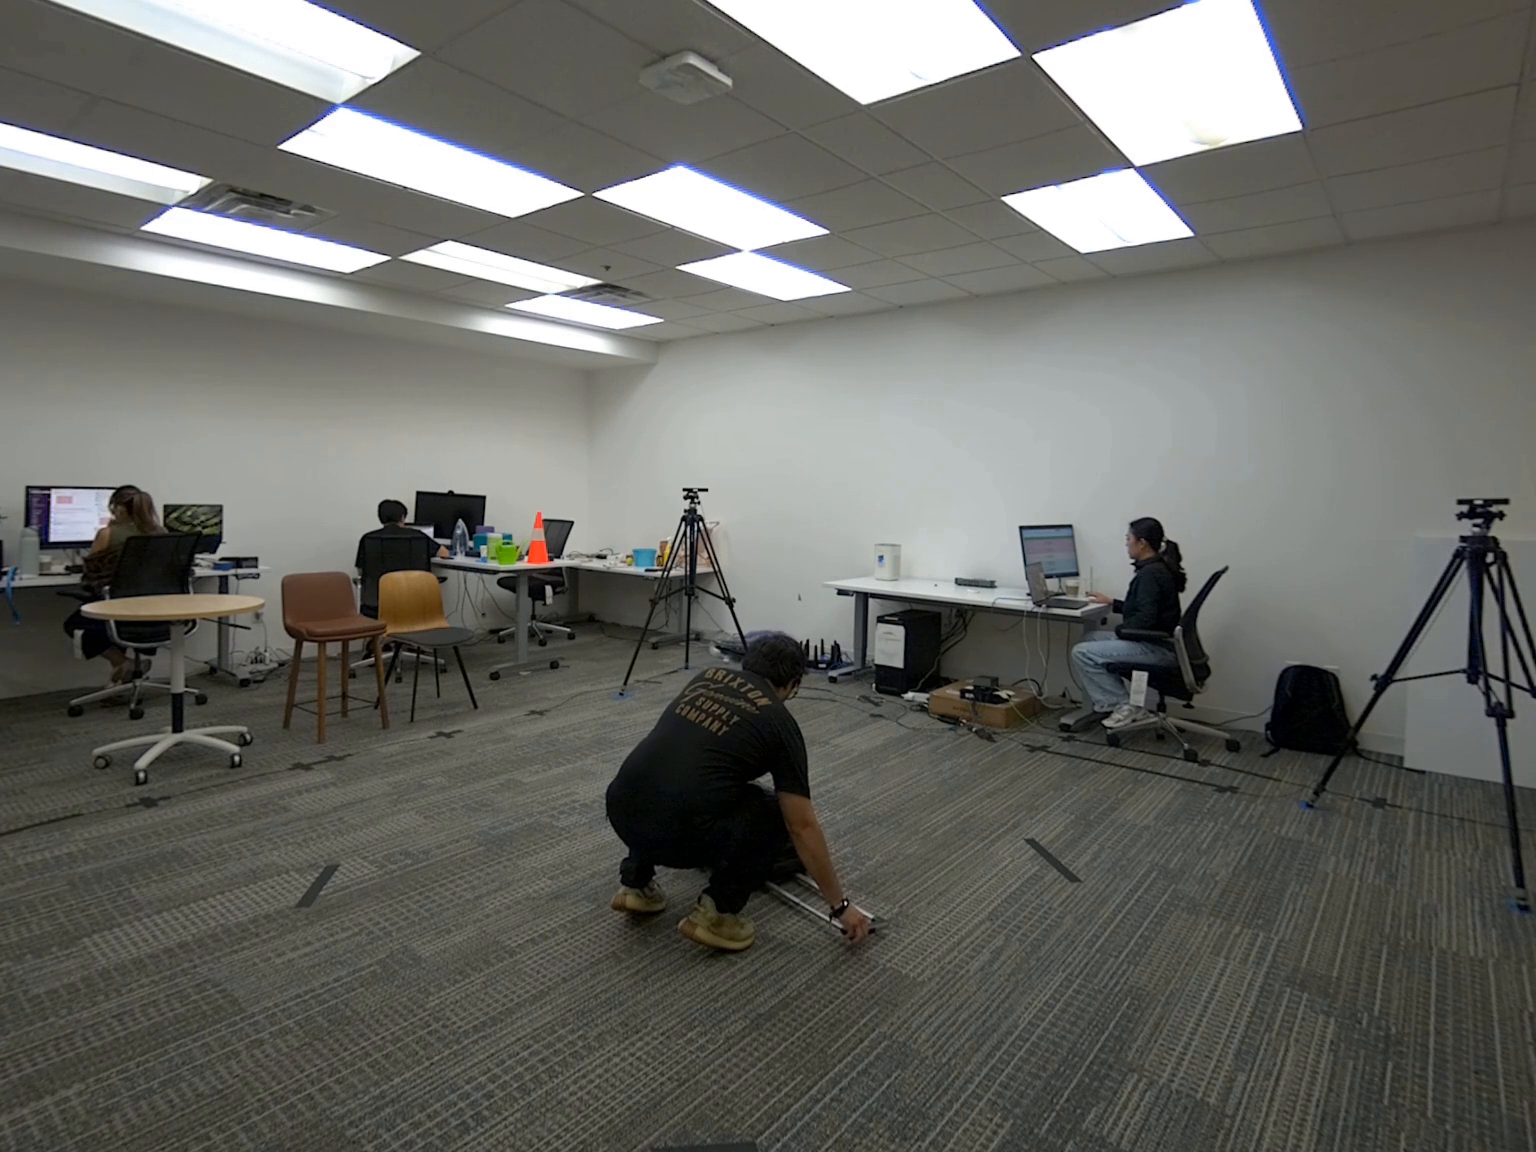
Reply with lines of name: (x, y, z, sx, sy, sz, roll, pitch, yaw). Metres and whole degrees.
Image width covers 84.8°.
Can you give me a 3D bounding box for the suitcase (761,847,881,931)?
suitcase: (0.013, 0.950, 3.033, 0.372, 0.257, 1.010, 0, 3, -36)
